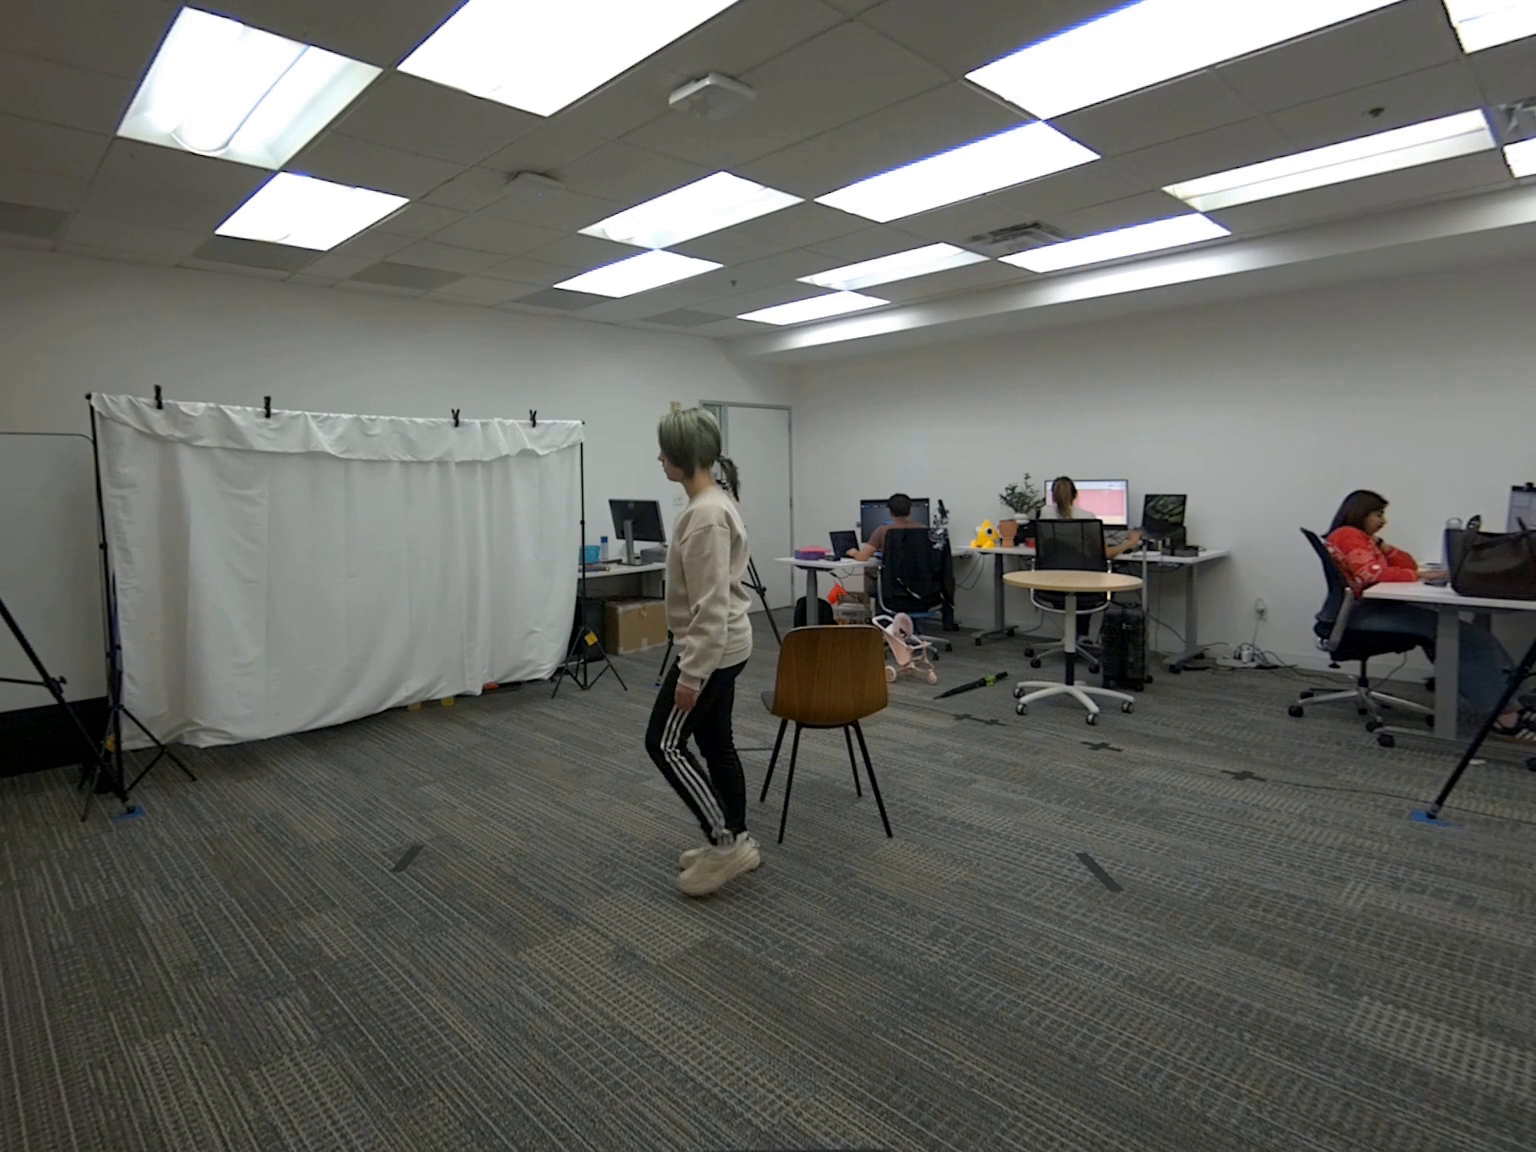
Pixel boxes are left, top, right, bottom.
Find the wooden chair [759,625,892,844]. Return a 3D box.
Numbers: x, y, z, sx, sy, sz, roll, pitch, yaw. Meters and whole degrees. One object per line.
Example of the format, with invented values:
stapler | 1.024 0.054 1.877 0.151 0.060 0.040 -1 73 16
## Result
wooden chair | 0.212 0.573 3.495 0.474 0.871 0.531 -2 8 -9
